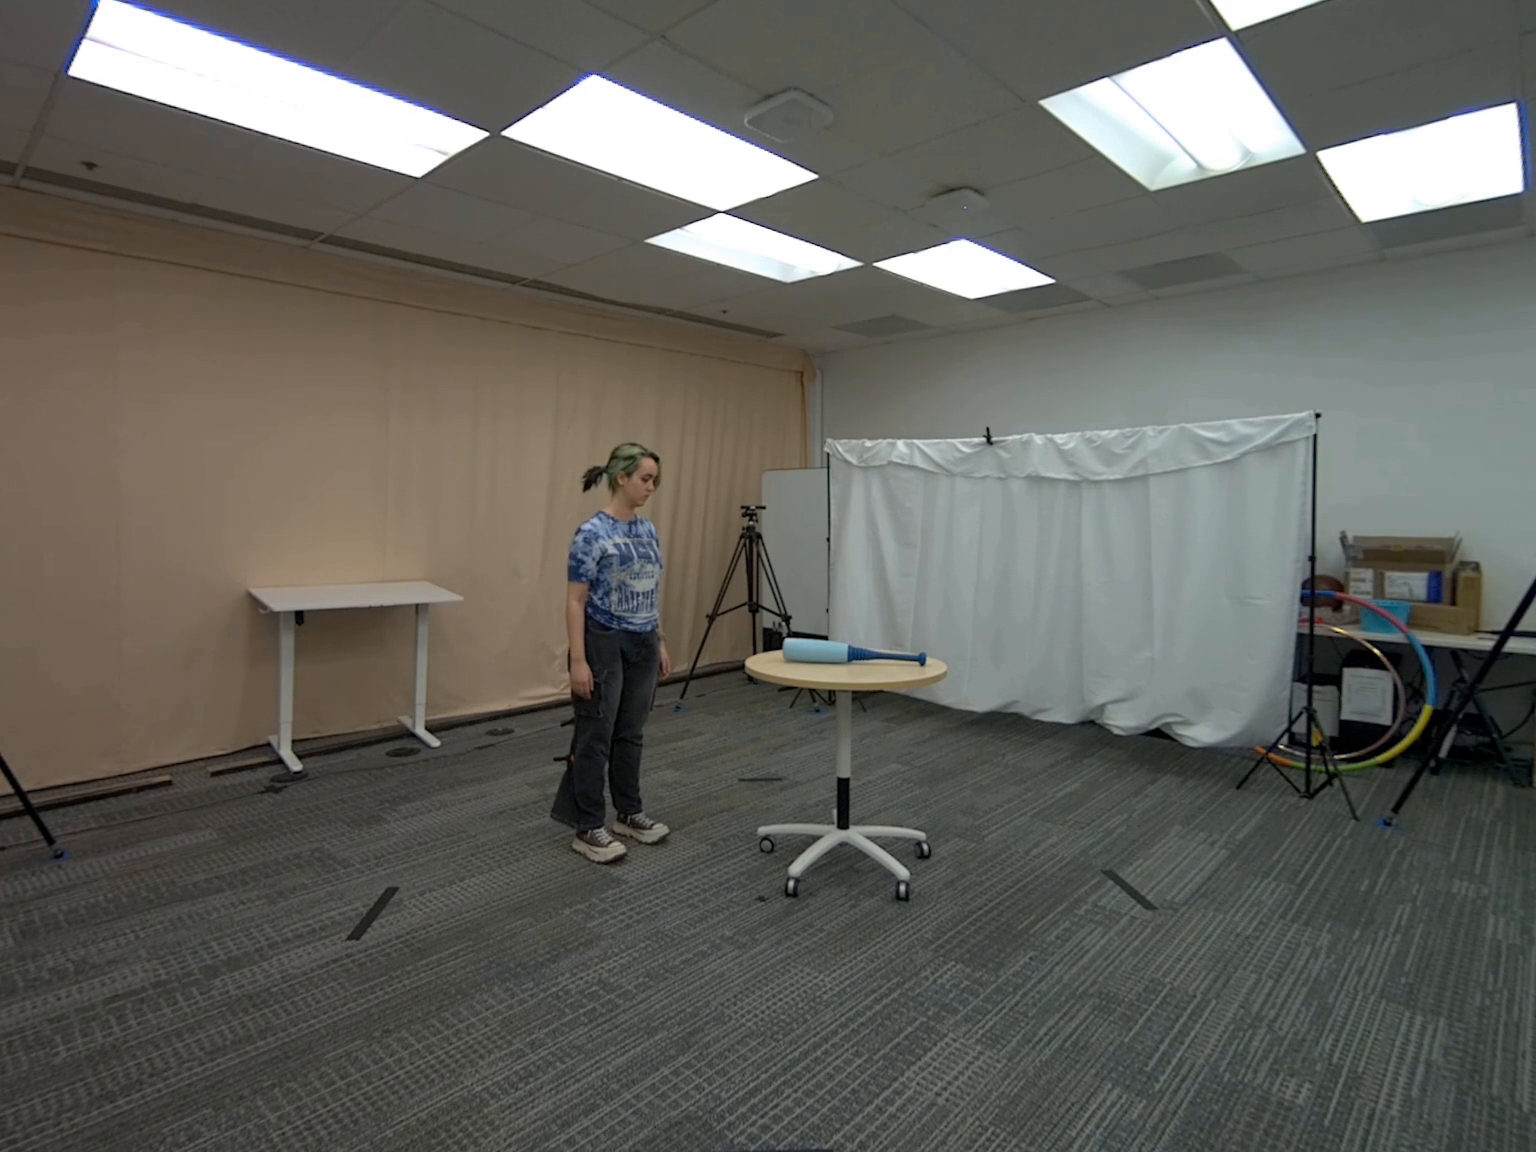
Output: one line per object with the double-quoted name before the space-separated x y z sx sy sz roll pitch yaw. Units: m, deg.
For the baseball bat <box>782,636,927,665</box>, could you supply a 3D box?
"baseball bat" 0.335 0.301 3.229 0.547 0.089 0.088 3 4 7
